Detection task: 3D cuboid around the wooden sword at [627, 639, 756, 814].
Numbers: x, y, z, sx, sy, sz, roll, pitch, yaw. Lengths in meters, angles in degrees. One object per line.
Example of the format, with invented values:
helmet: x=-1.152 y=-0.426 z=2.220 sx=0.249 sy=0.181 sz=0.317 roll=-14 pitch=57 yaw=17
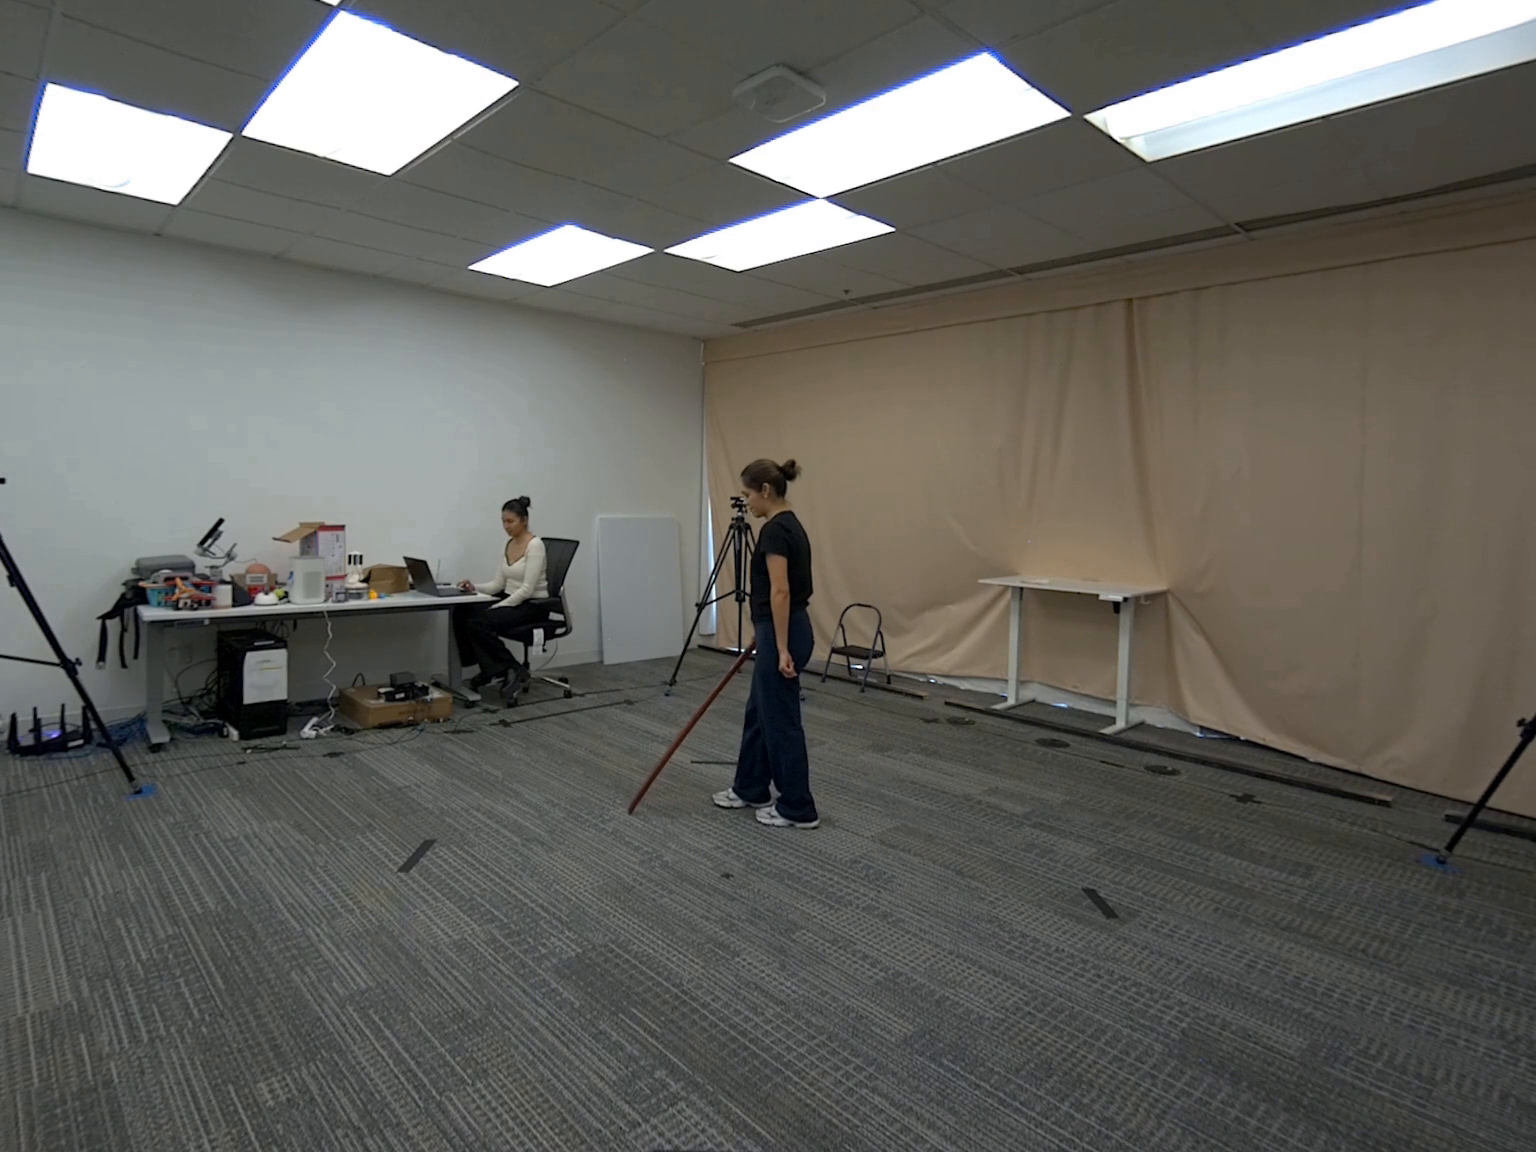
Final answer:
wooden sword: x=-0.317 y=0.640 z=3.808 sx=0.051 sy=1.026 sz=0.024 roll=42 pitch=-17 yaw=-10
